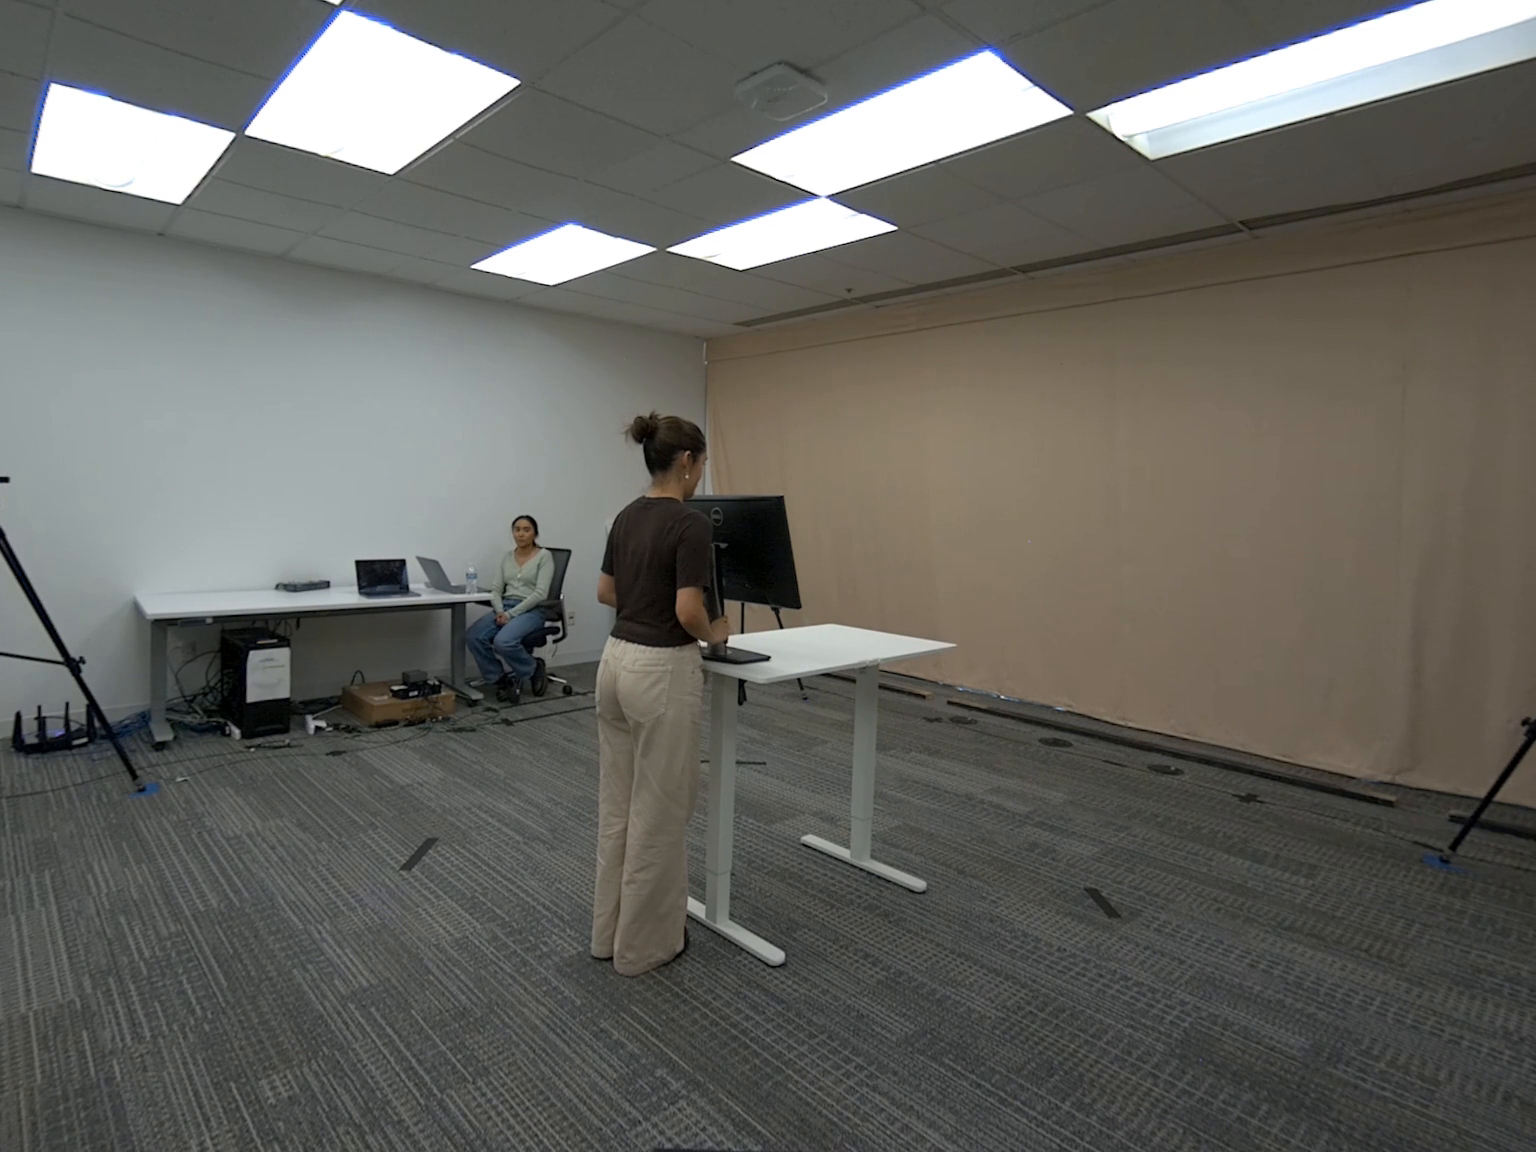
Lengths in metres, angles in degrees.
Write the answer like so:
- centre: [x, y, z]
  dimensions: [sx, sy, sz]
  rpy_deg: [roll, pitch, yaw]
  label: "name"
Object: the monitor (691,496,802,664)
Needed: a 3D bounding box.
- centre: [-0.138, 0.003, 2.662]
  dimensions: [0.543, 0.516, 0.170]
  rpy_deg: [3, 2, 45]
  label: "monitor"
